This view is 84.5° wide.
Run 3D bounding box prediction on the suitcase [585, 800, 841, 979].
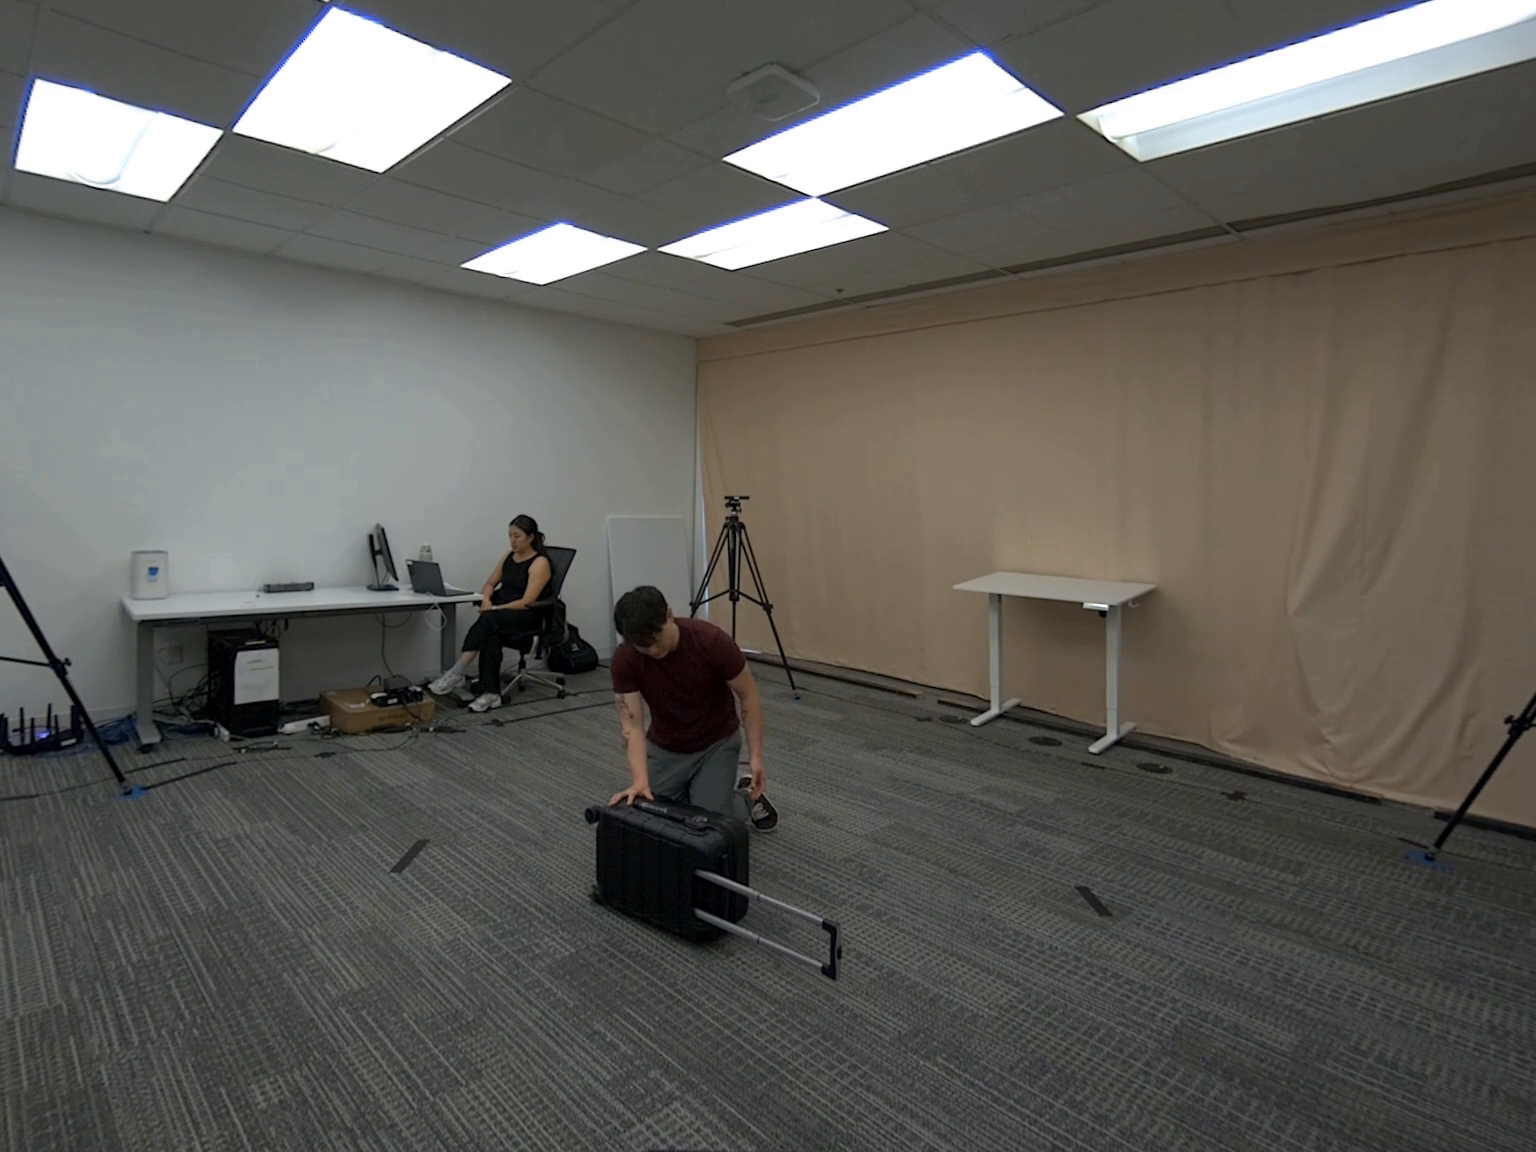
[{"bbox_3d":[-0.165,0.961,2.646,1.002,0.382,0.252,5,7,37],"label":"suitcase"}]
